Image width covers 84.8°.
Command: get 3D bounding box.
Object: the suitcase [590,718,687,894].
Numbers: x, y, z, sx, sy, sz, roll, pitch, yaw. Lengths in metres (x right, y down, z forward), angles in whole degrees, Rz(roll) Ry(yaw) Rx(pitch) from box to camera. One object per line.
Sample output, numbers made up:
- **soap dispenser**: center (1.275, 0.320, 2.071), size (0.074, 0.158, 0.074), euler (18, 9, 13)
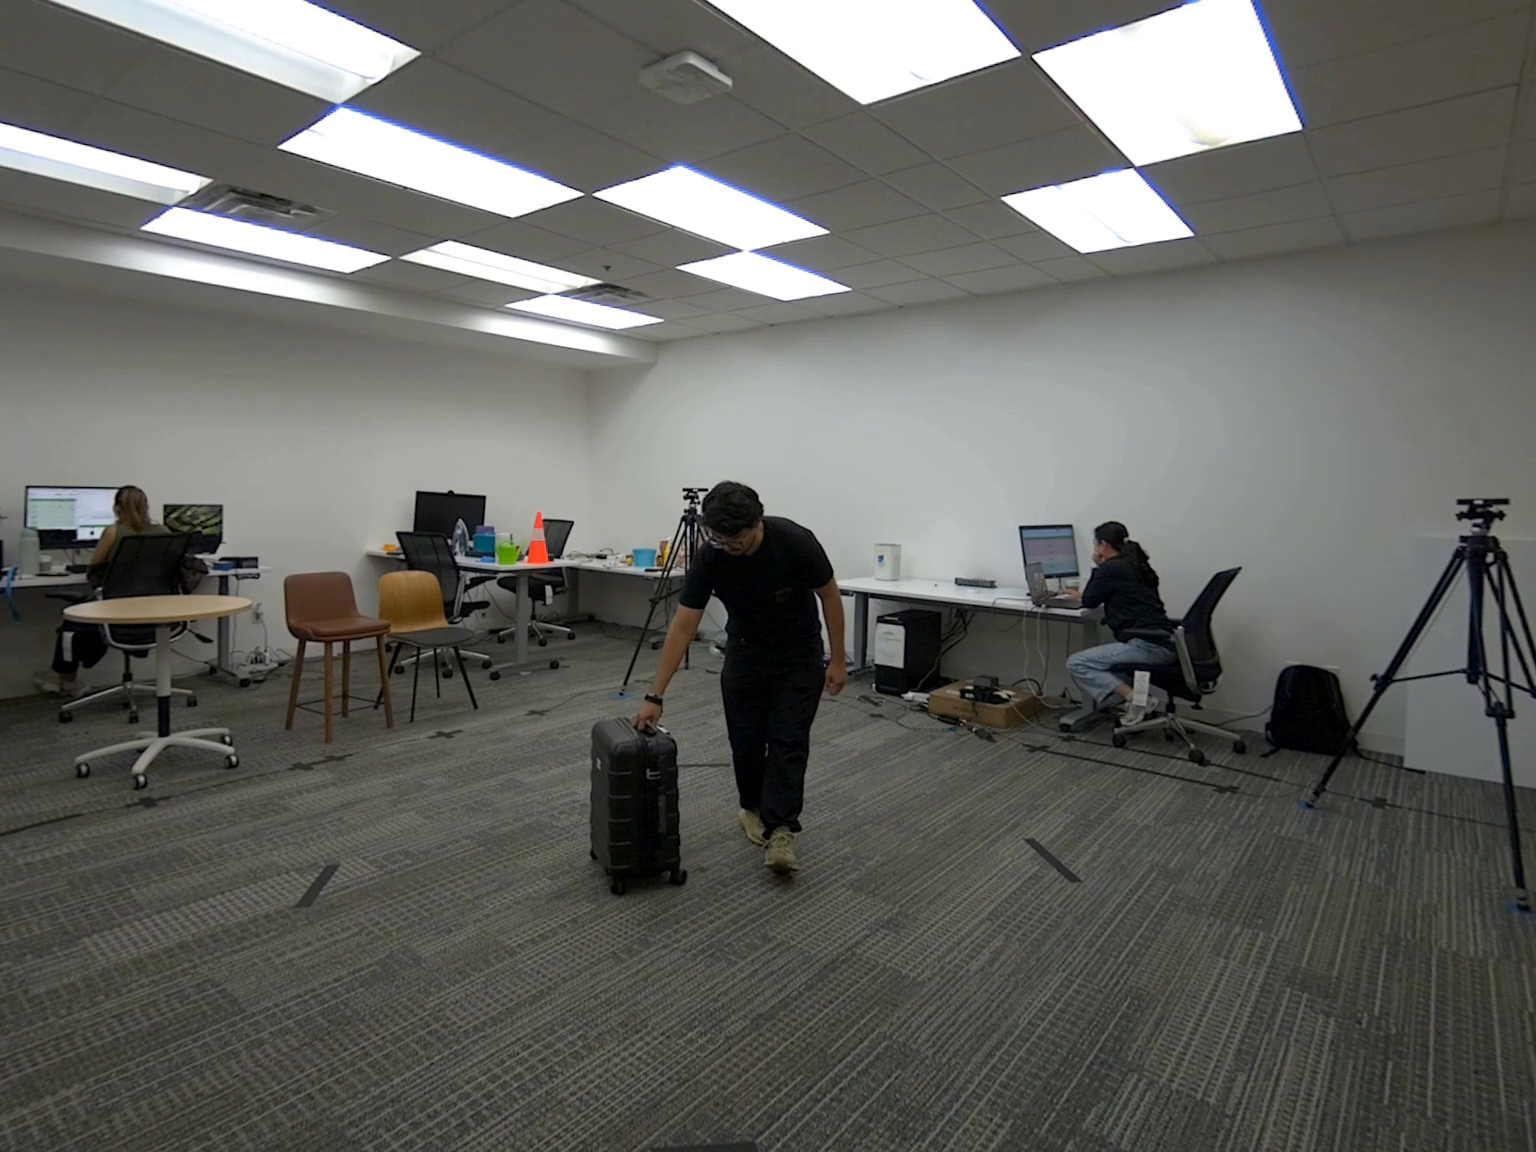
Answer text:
- **suitcase**: center (-0.493, 0.798, 3.050), size (0.243, 0.547, 0.385), euler (-1, 5, -22)
